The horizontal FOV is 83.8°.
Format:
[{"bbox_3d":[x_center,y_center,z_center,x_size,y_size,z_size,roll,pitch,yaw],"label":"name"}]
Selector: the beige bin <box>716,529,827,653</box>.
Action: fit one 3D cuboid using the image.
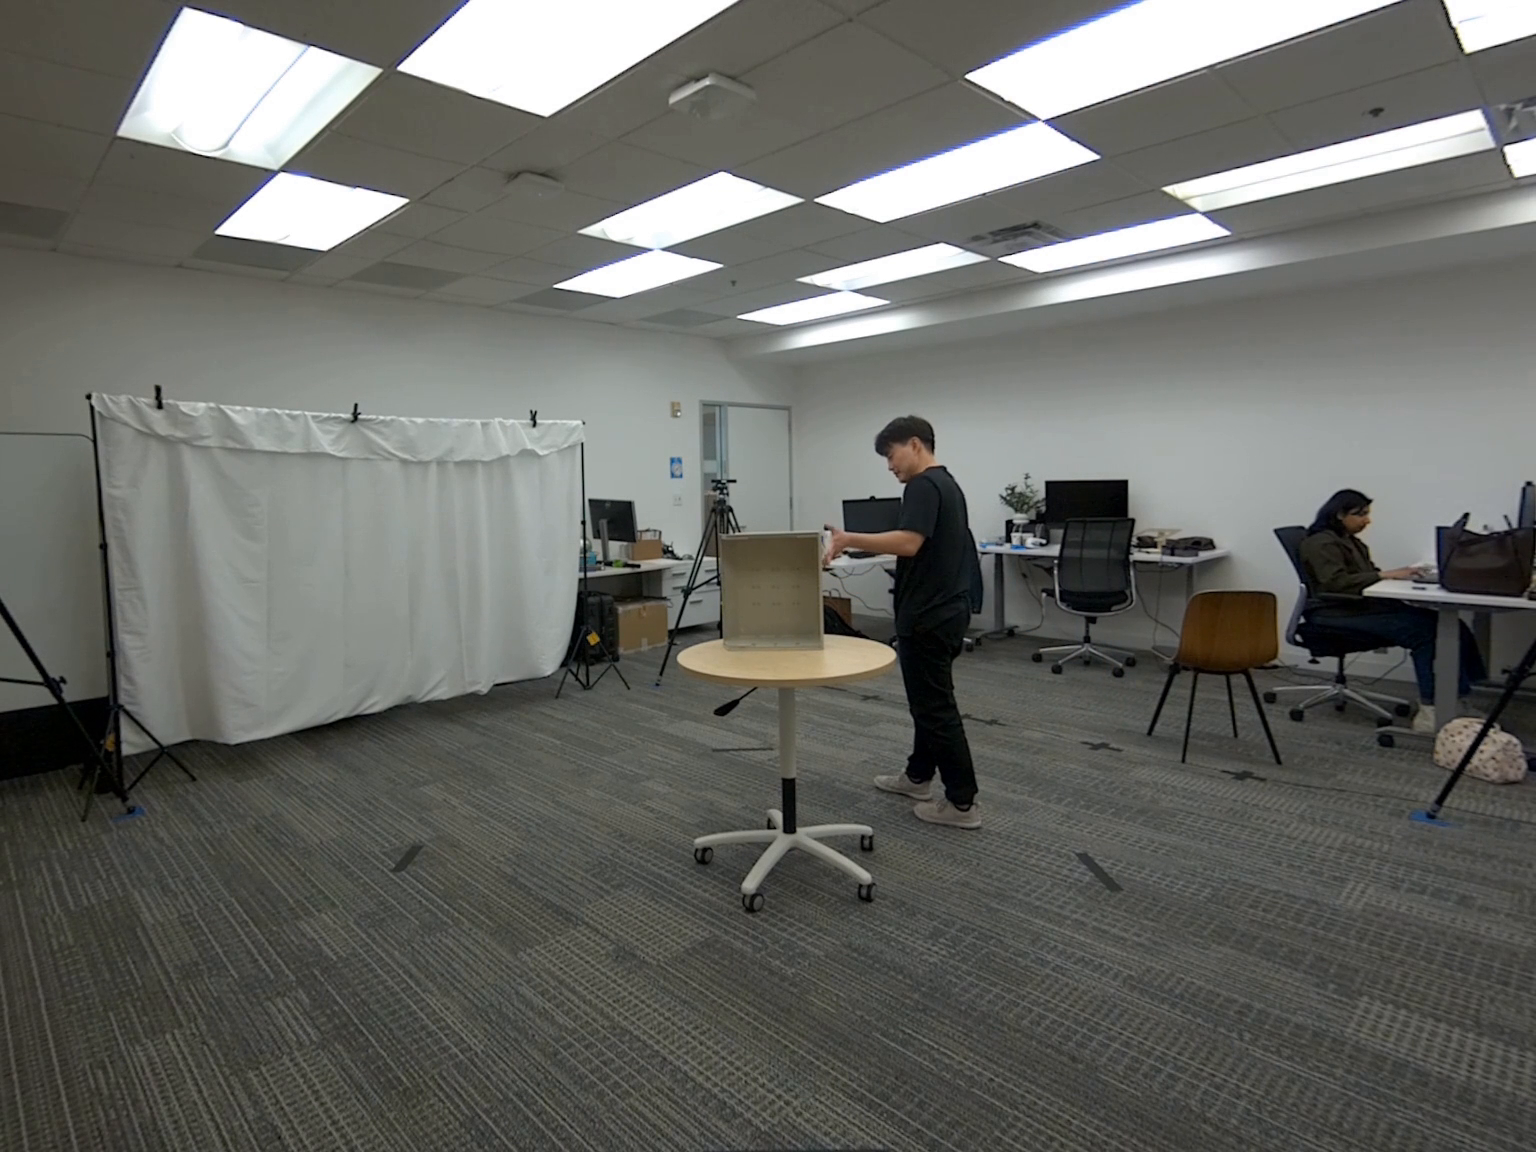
[{"bbox_3d":[0.014,0.047,3.146,0.379,0.421,0.188,-2,3,4],"label":"beige bin"}]
